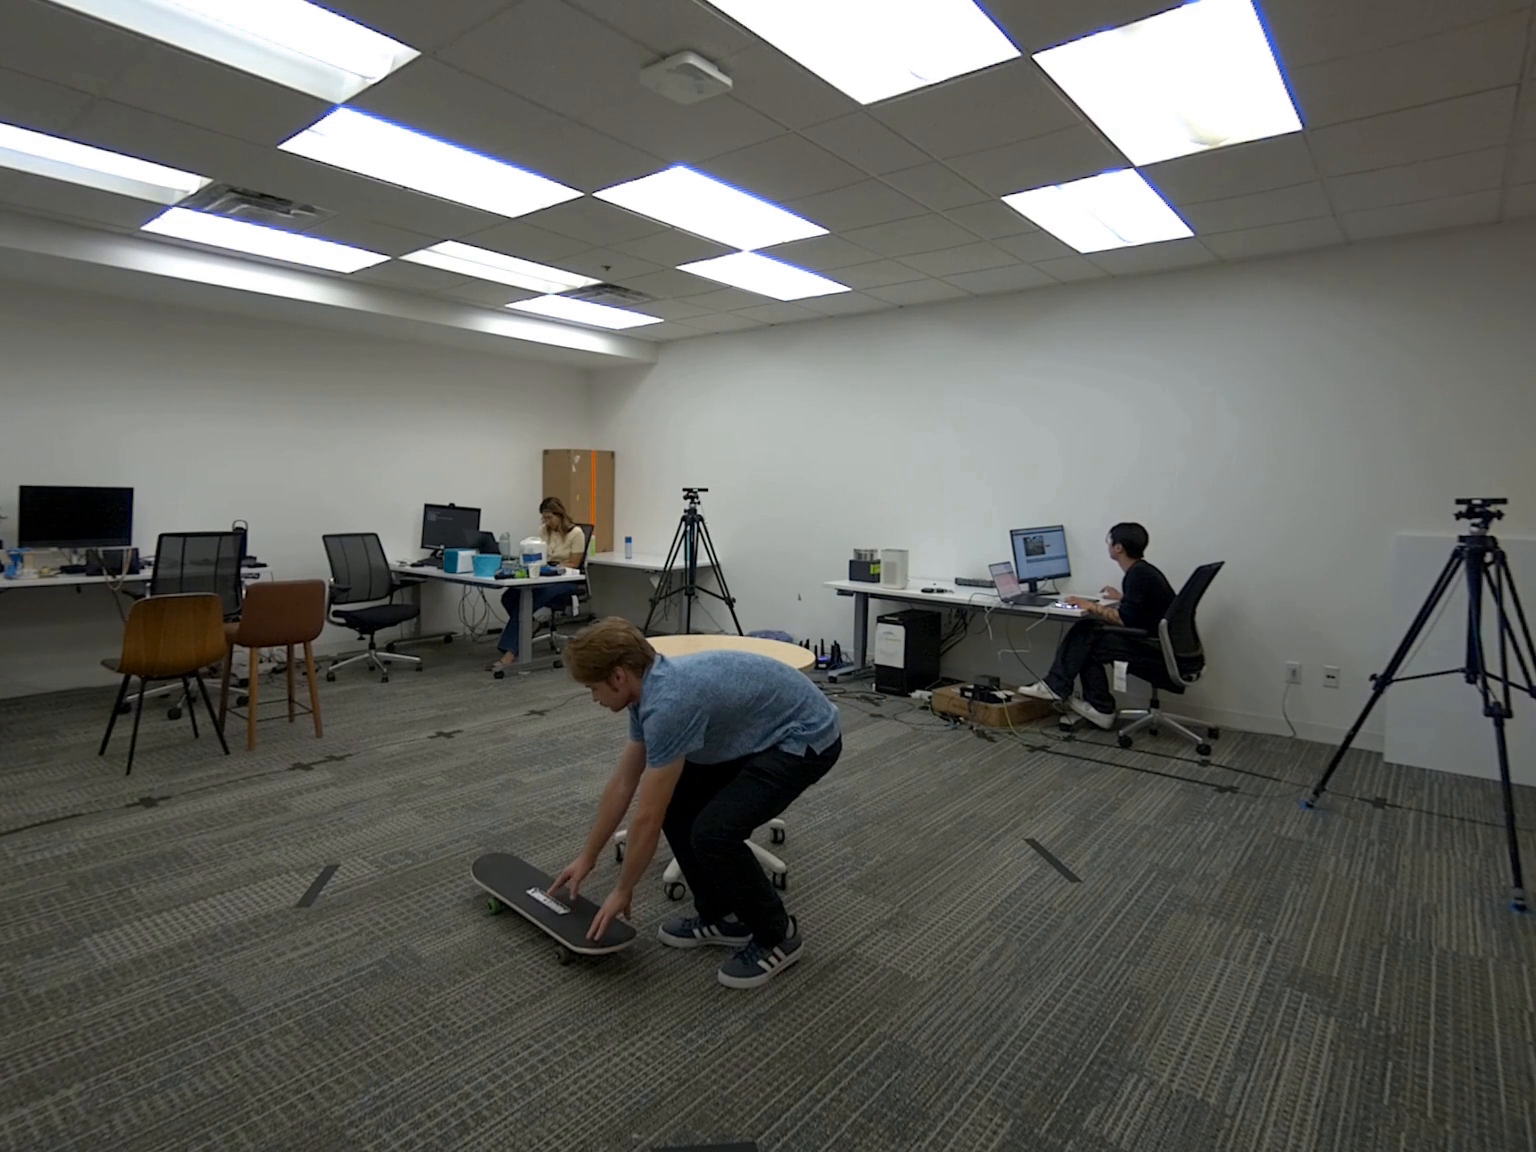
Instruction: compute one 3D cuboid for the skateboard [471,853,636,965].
[{"bbox_3d":[-0.701,1.050,2.662,0.813,0.110,0.188,7,8,44],"label":"skateboard"}]
